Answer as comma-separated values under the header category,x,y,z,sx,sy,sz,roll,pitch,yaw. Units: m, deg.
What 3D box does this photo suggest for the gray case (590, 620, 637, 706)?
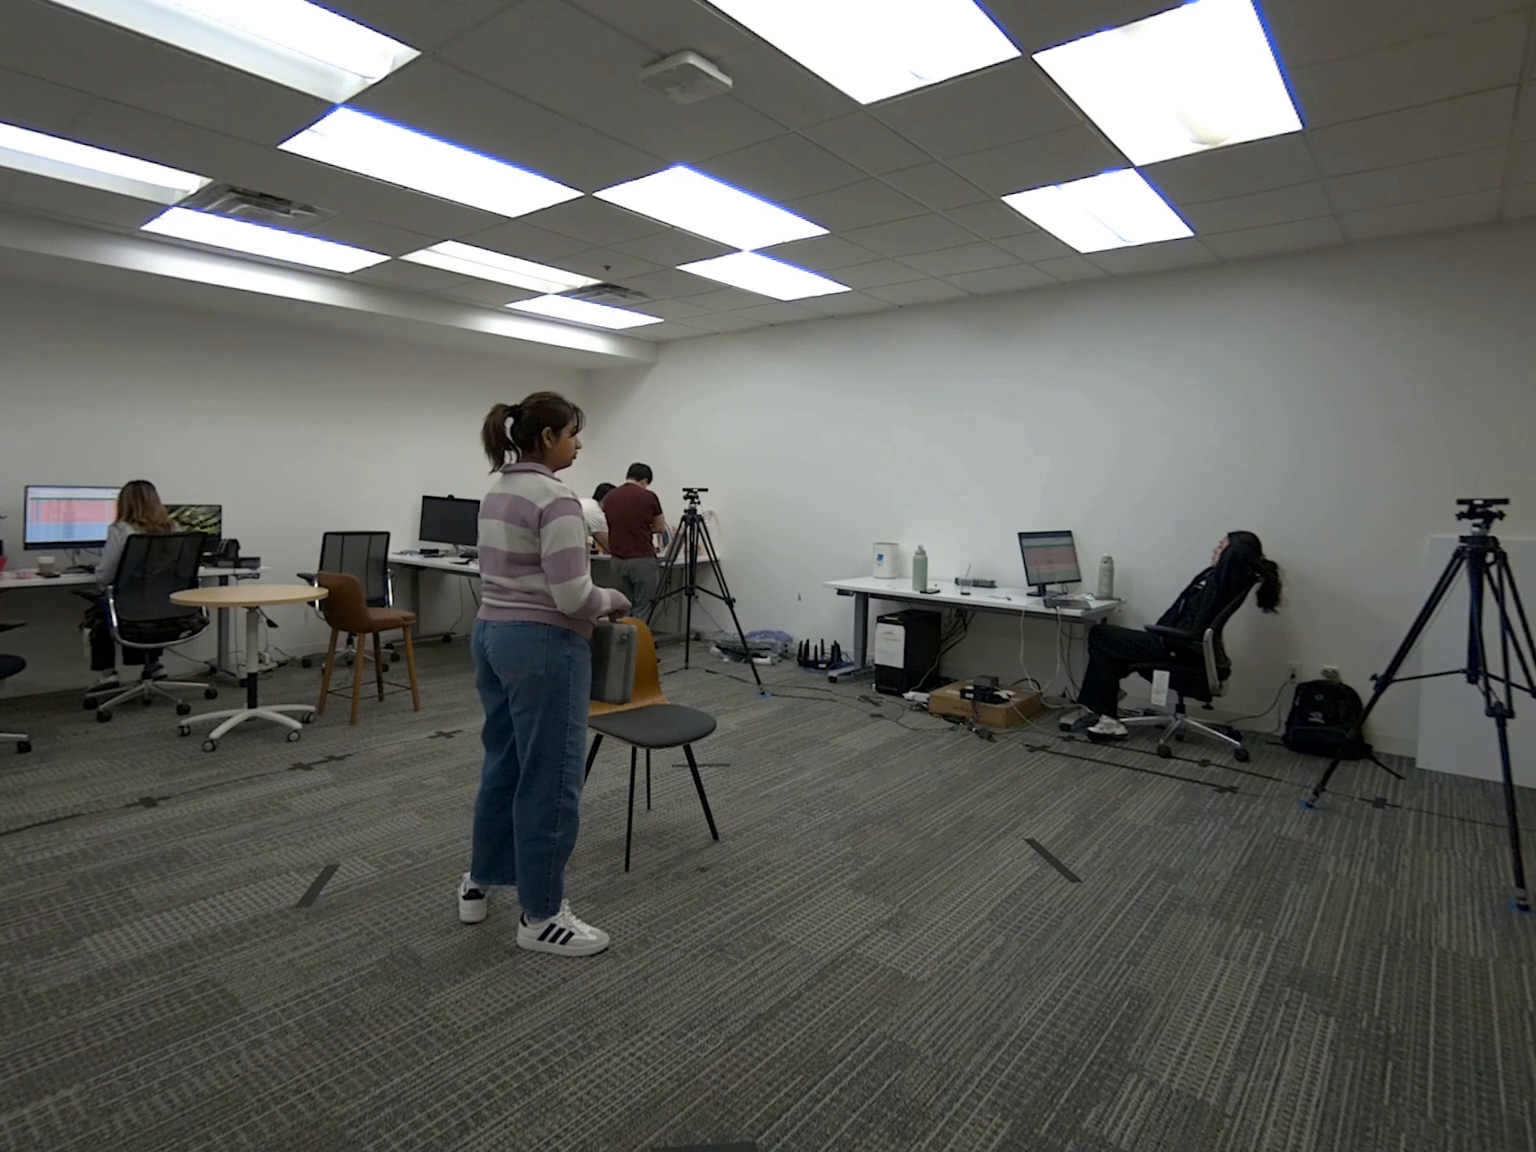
category,x,y,z,sx,sy,sz,roll,pitch,yaw
gray case,-0.539,0.269,2.715,0.101,0.262,0.265,10,-7,-41
